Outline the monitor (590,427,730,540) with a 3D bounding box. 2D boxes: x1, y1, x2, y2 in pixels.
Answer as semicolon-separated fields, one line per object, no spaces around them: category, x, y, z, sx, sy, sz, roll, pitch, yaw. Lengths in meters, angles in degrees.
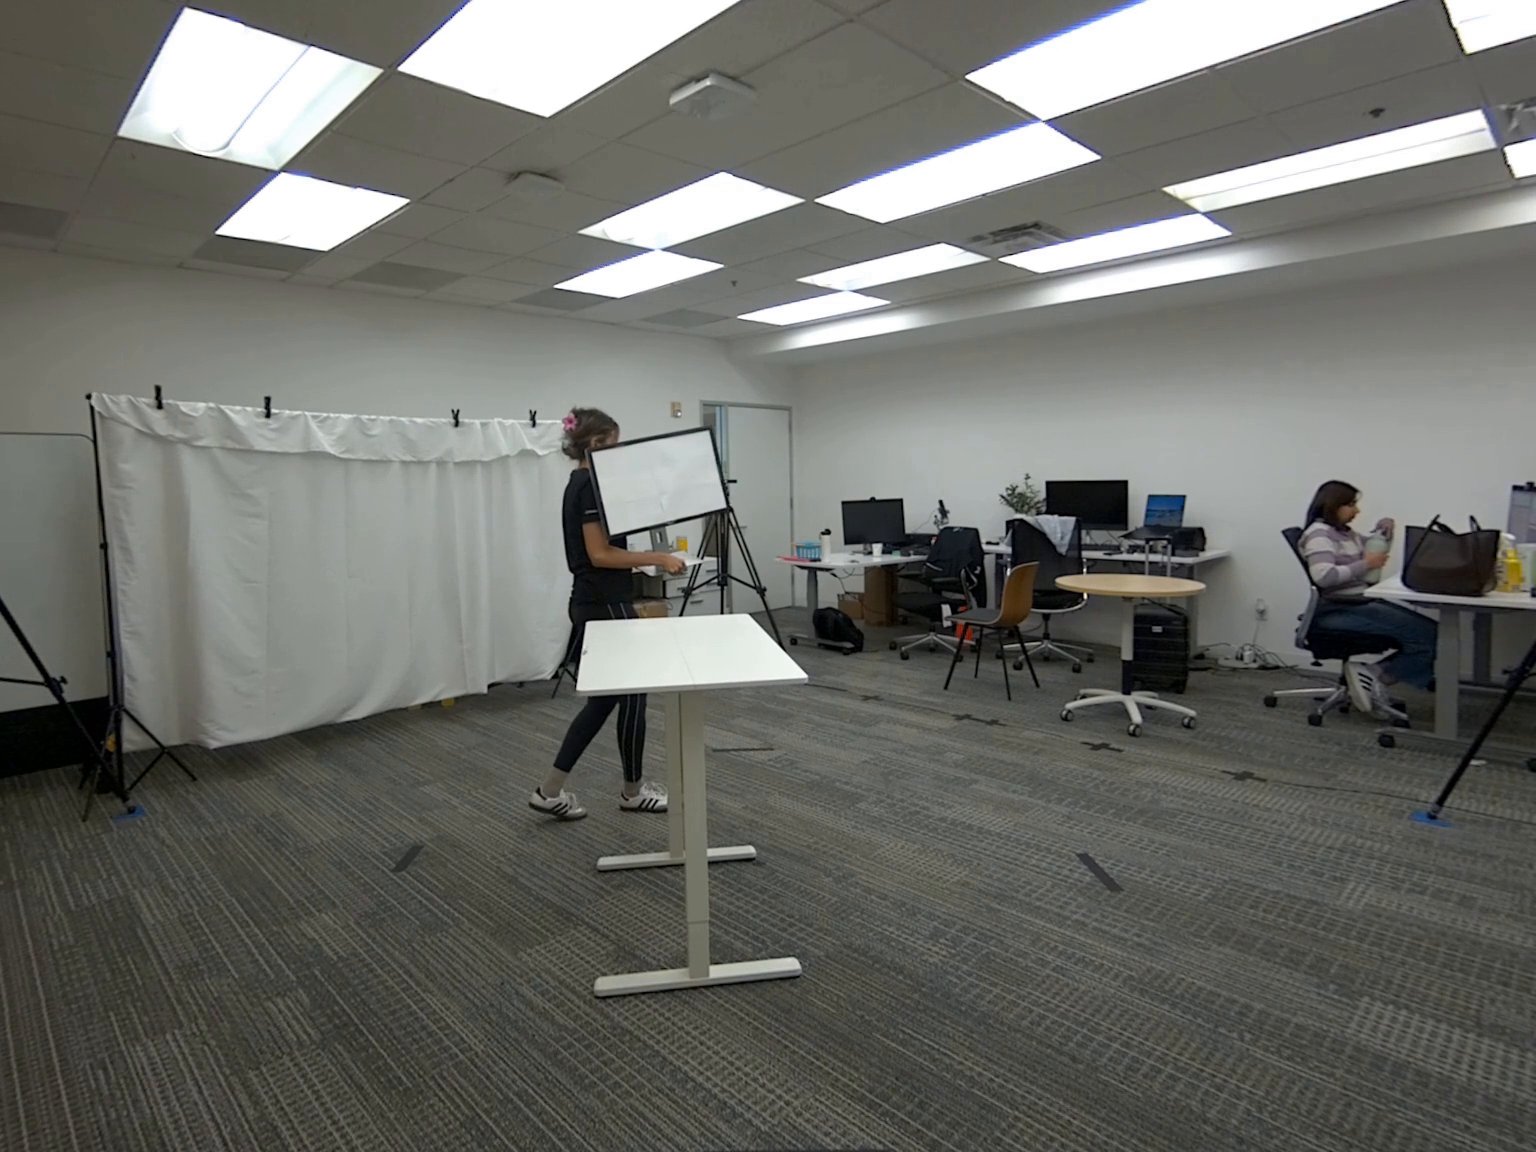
monitor;-0.439;-0.301;3.476;0.529;0.514;0.193;-16;19;-30
